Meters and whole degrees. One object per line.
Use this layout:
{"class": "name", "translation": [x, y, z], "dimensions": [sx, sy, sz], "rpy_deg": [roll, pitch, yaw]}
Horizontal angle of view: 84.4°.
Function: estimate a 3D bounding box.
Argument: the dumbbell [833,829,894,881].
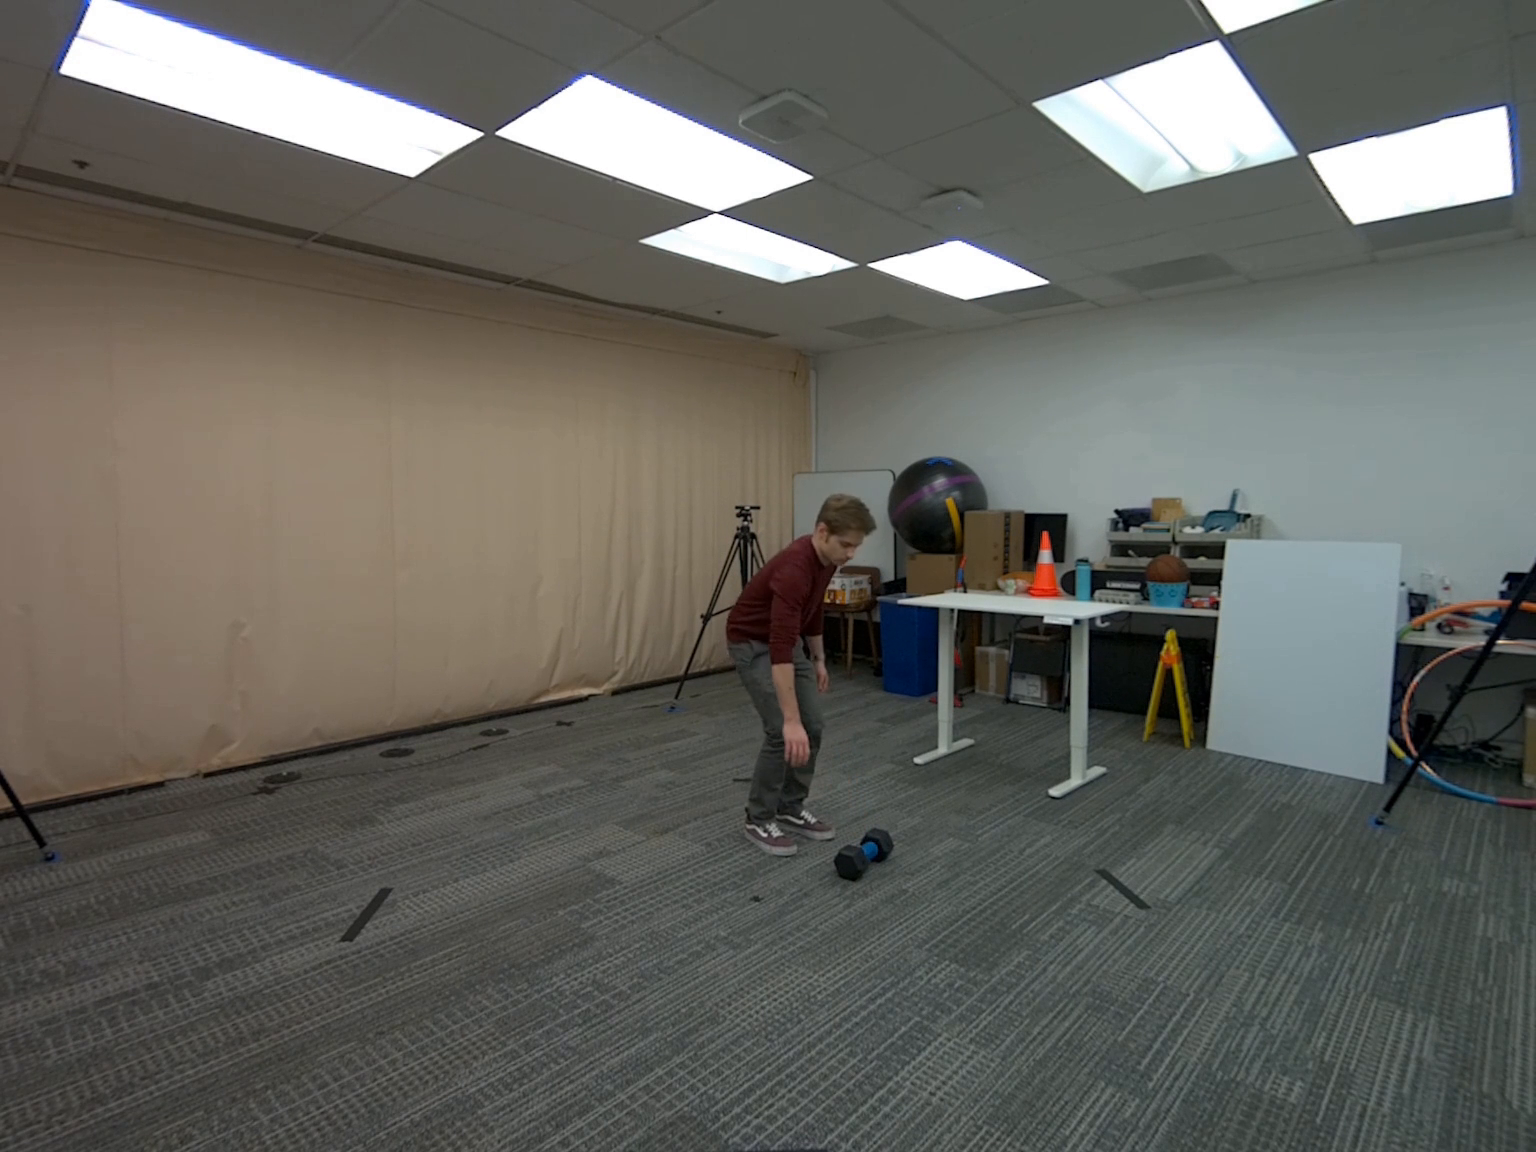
{"class": "dumbbell", "translation": [0.374, 1.067, 3.236], "dimensions": [0.110, 0.125, 0.285], "rpy_deg": [-33, -15, 33]}
